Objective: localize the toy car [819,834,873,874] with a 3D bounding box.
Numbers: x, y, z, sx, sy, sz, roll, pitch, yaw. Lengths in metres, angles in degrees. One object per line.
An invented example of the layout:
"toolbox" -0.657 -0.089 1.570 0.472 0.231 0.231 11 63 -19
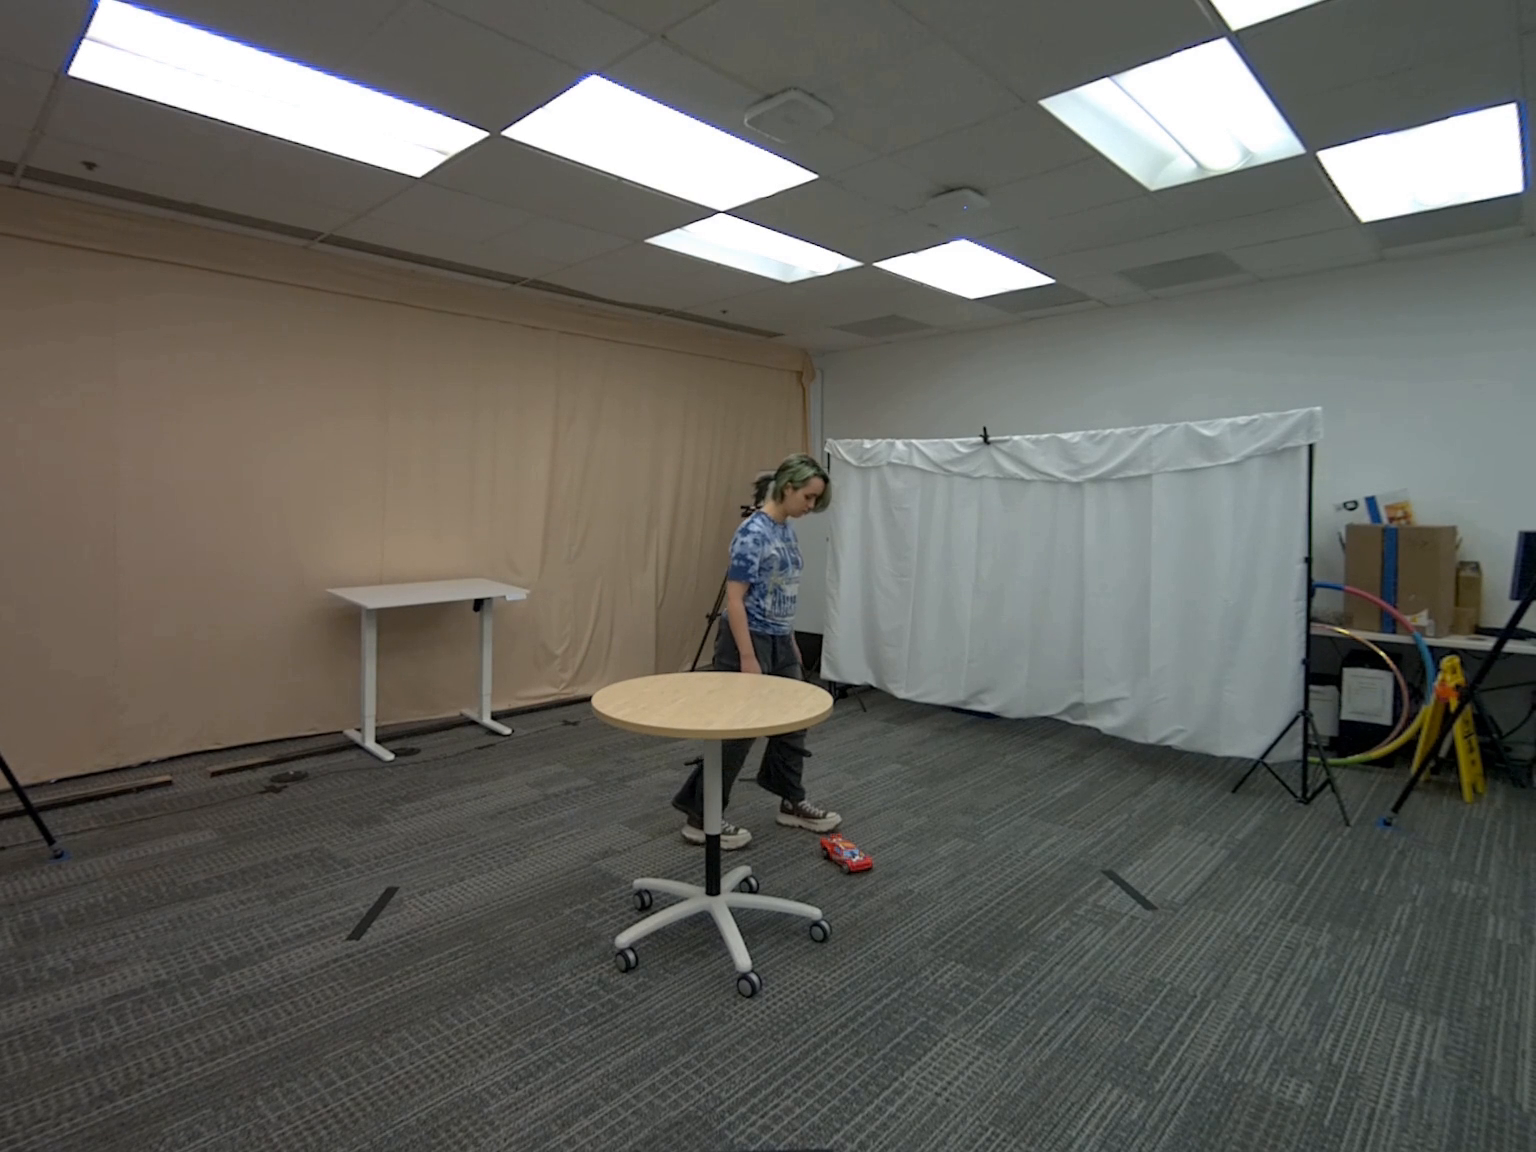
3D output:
"toy car" 0.301 1.084 3.286 0.127 0.082 0.263 -2 15 -26
